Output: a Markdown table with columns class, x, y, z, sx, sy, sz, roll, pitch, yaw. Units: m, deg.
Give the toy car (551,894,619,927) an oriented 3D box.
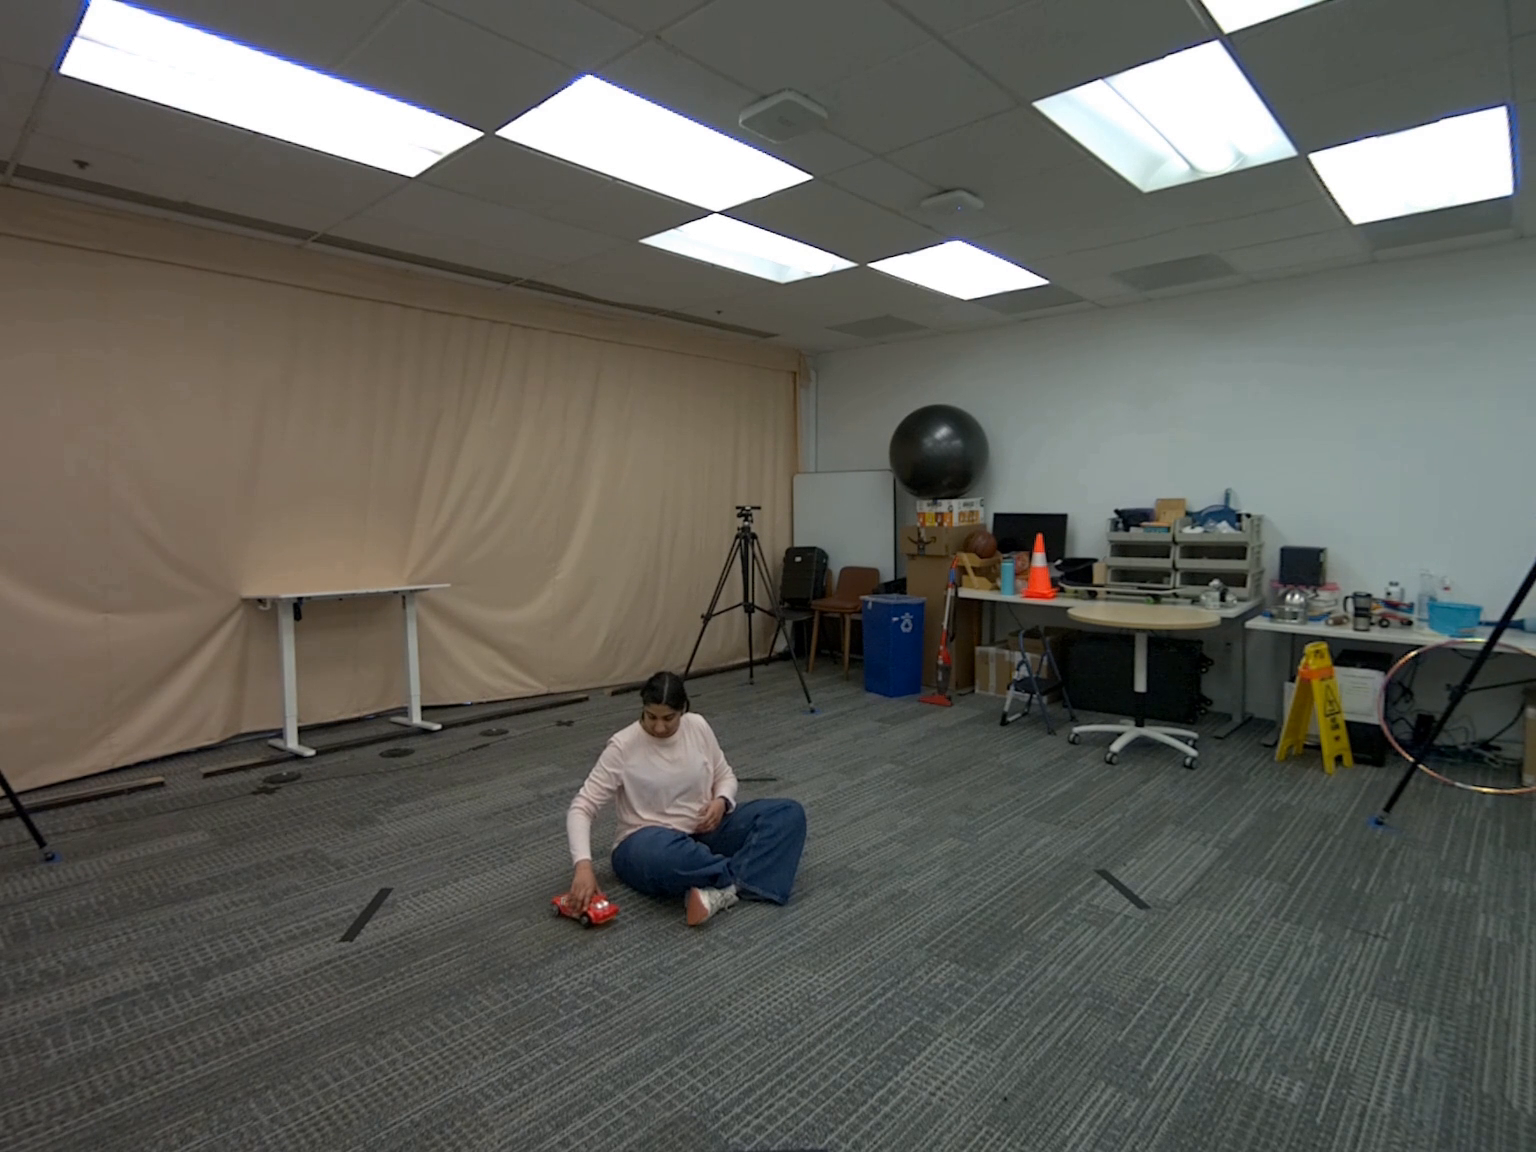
| class | x | y | z | sx | sy | sz | roll | pitch | yaw |
| --- | --- | --- | --- | --- | --- | --- | --- | --- | --- |
| toy car | -0.614 | 1.122 | 2.845 | 0.261 | 0.084 | 0.126 | -12 | -8 | 34 |
